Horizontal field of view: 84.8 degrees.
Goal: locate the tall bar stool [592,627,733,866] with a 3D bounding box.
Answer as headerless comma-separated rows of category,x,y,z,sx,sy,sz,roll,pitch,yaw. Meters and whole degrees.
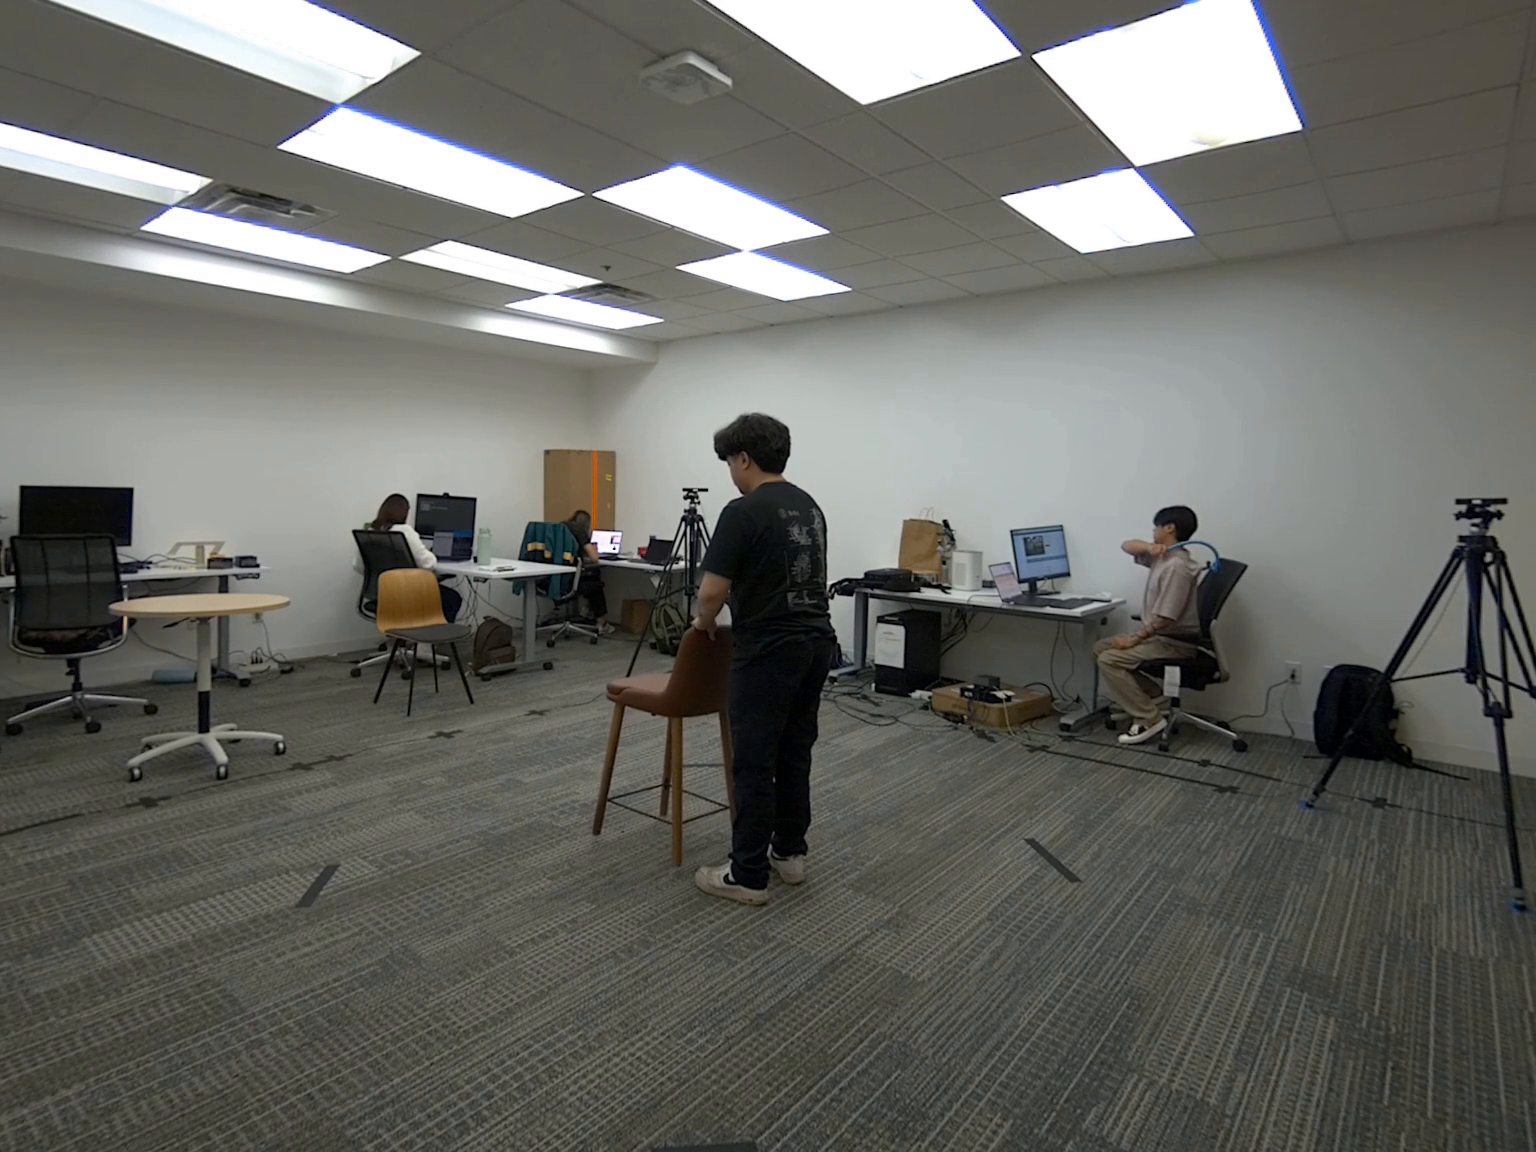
tall bar stool,-0.369,0.597,3.339,0.484,0.889,0.441,6,2,39
